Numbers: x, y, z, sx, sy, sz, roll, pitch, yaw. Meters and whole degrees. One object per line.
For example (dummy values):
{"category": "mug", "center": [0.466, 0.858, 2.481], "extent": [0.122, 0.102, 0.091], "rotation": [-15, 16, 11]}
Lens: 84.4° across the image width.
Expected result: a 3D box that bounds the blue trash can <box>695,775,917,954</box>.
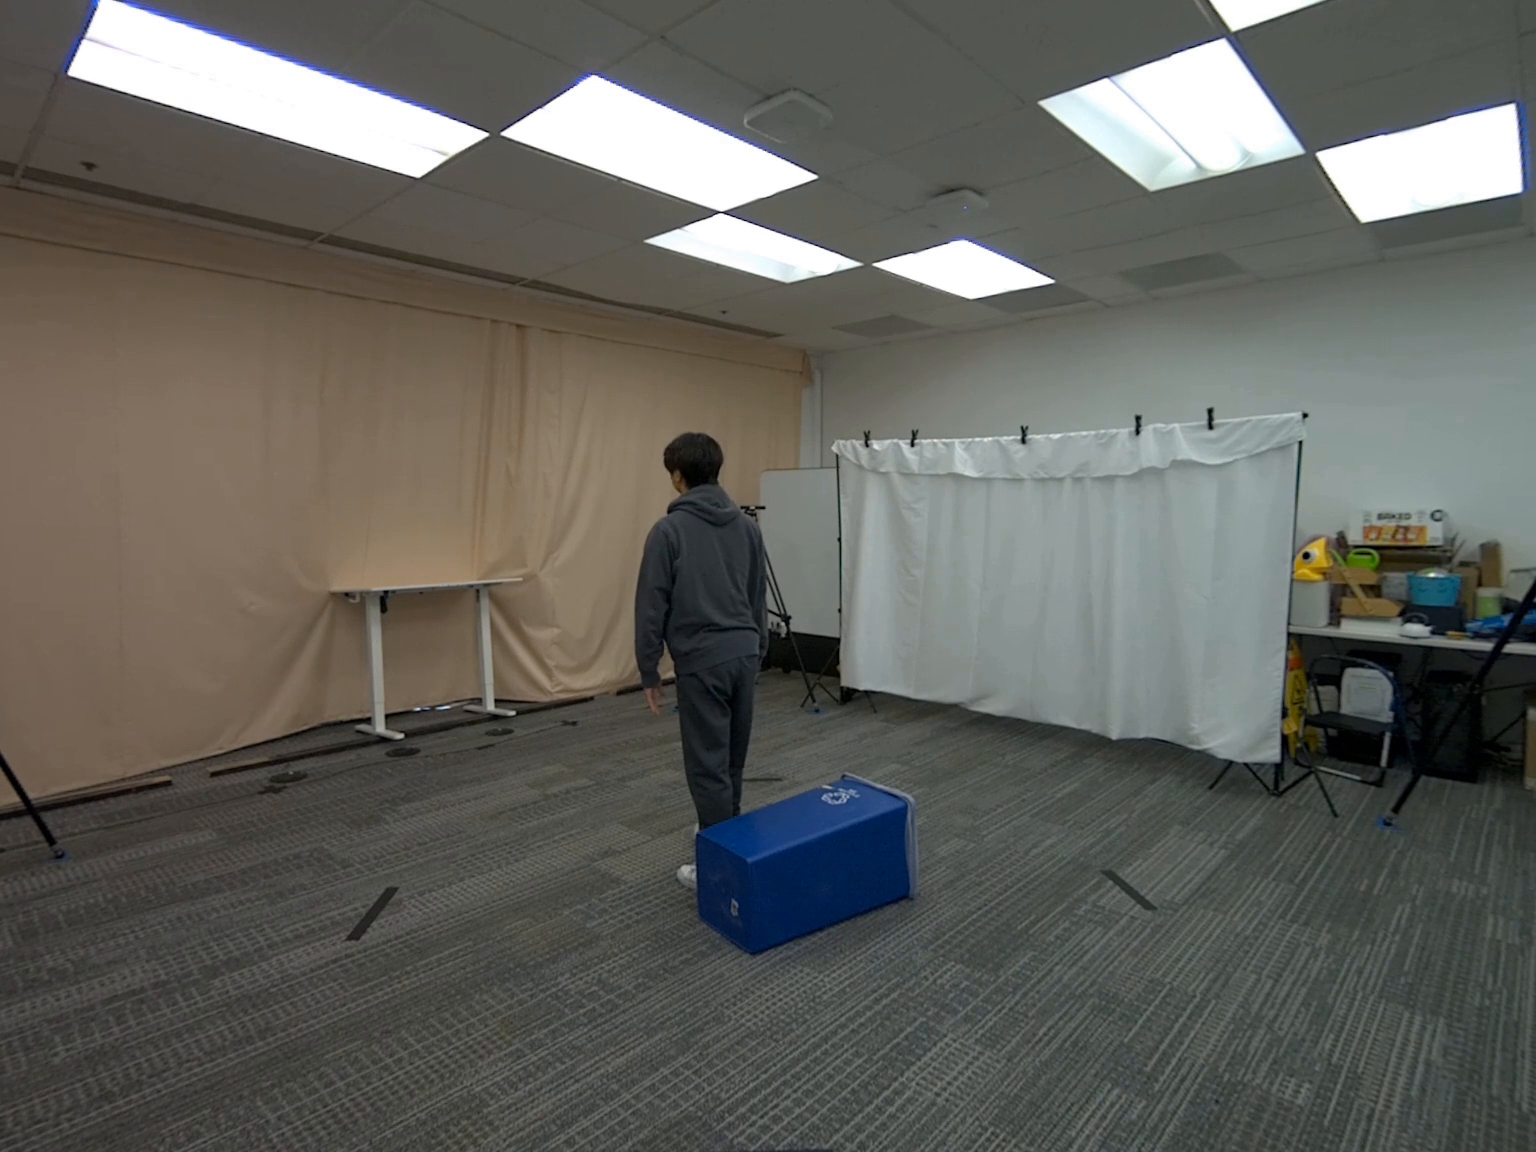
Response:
{"category": "blue trash can", "center": [0.143, 0.981, 2.901], "extent": [0.693, 0.377, 0.386], "rotation": [-7, 7, -36]}
